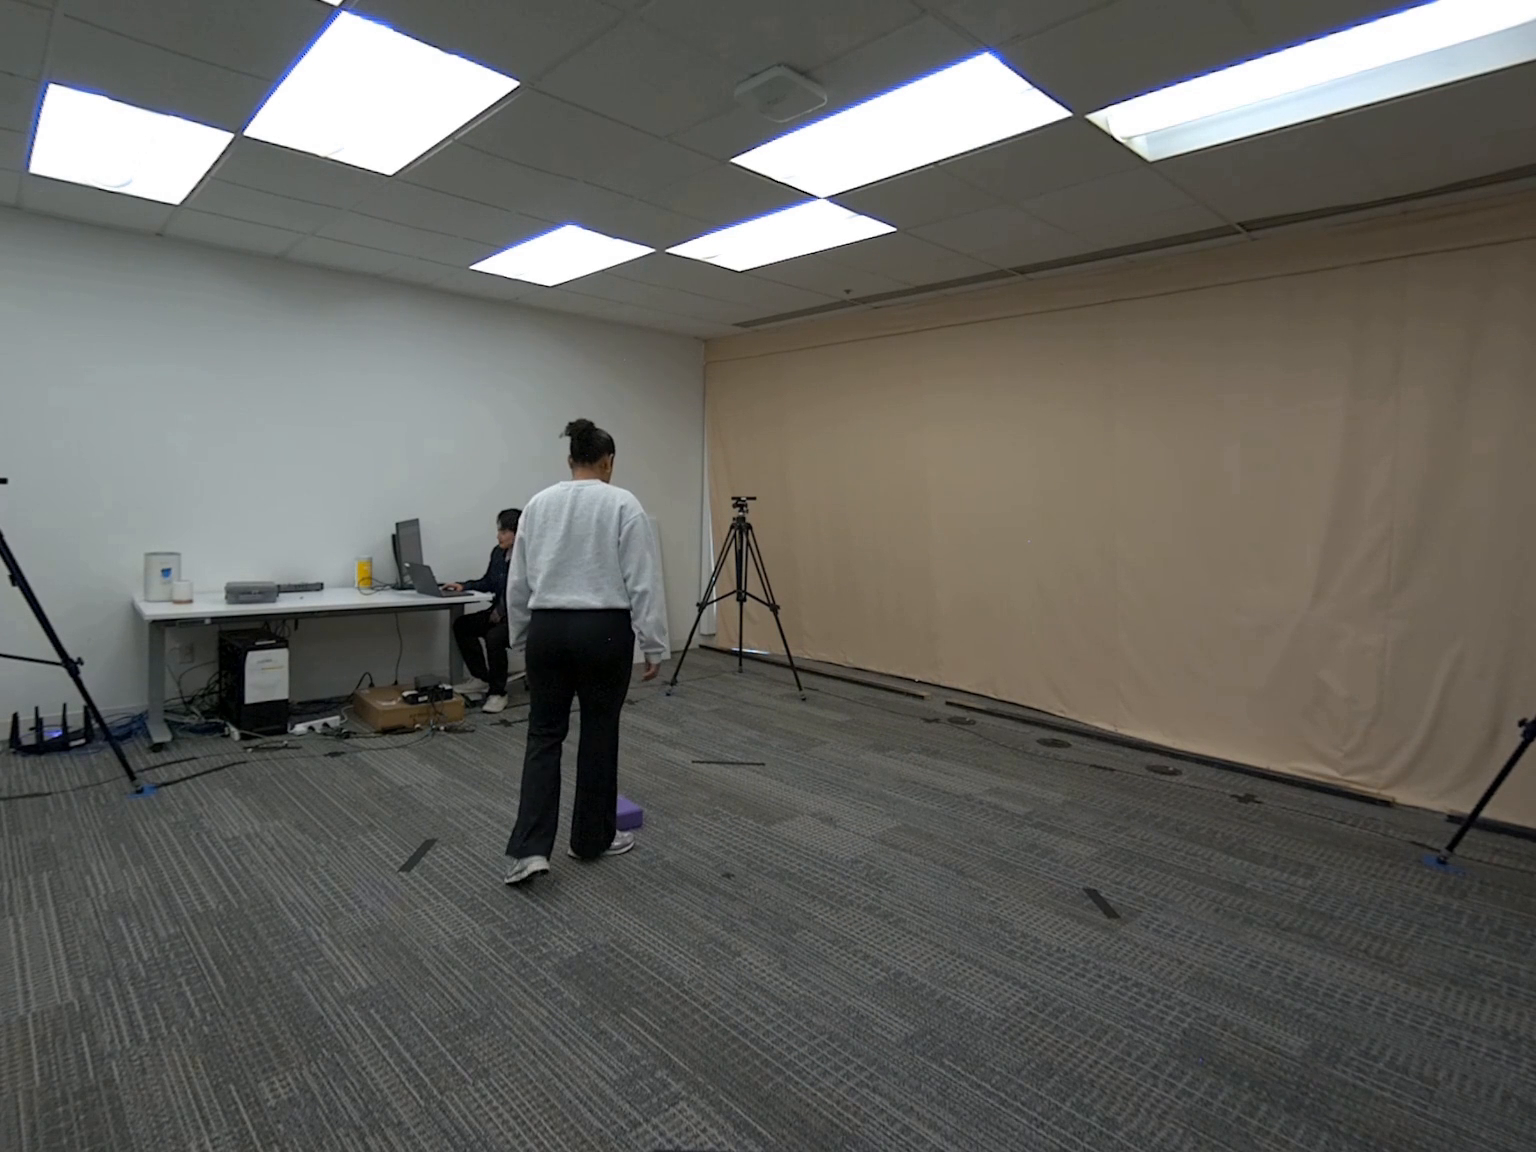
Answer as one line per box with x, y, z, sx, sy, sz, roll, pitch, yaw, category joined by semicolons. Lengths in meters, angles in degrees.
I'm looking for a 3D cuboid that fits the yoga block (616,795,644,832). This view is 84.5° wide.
-0.661;1.012;3.604;0.146;0.076;0.235;-1;5;-36;yoga block
